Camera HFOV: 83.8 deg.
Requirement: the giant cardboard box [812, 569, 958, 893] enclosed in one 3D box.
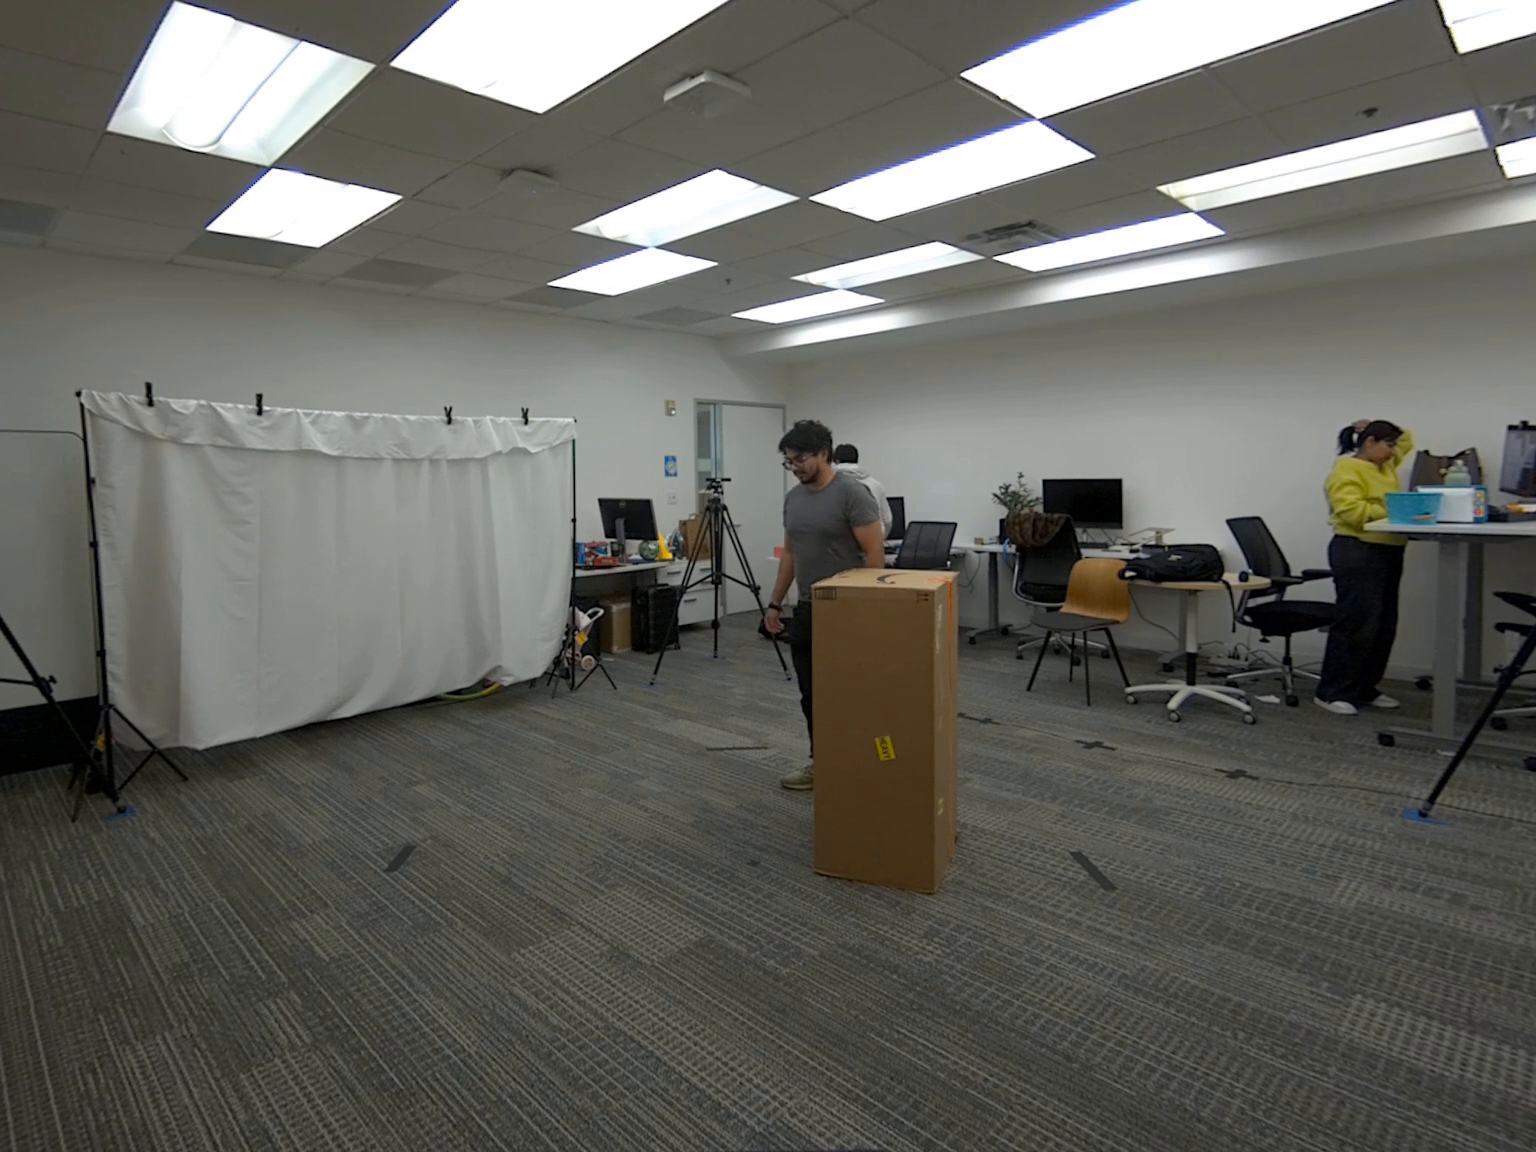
[{"bbox_3d":[0.455,0.523,3.156,0.456,1.024,0.574,0,4,21],"label":"giant cardboard box"}]
